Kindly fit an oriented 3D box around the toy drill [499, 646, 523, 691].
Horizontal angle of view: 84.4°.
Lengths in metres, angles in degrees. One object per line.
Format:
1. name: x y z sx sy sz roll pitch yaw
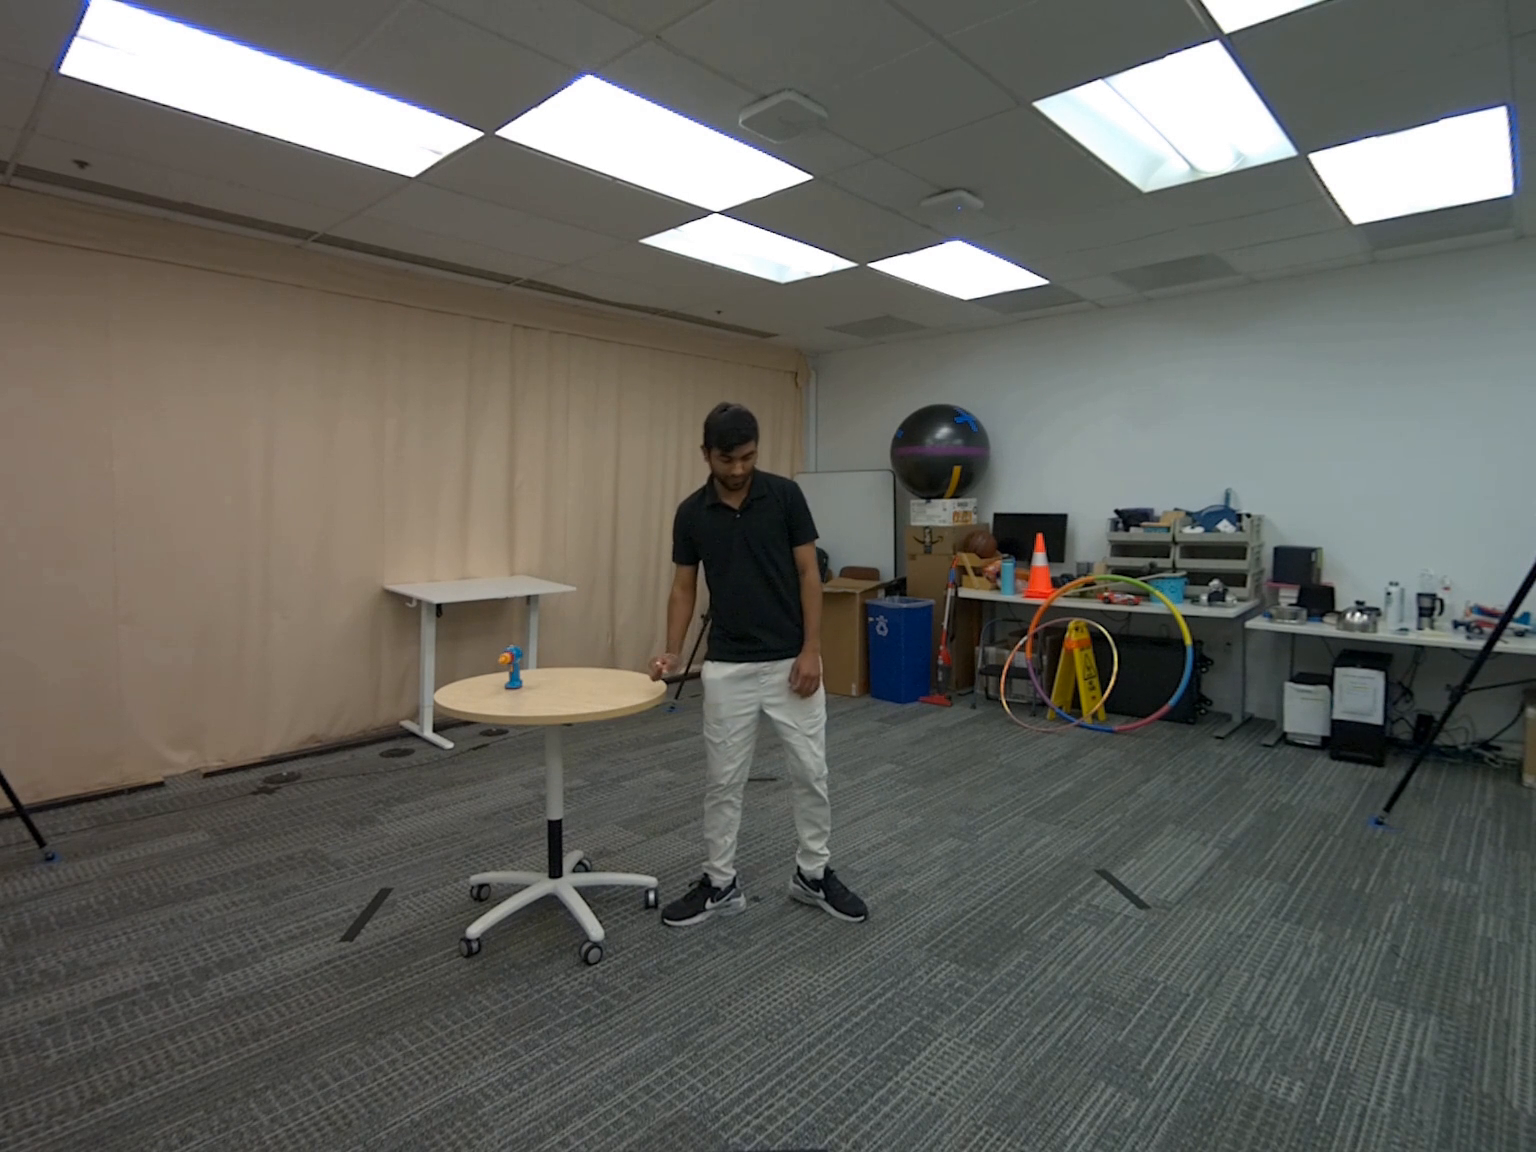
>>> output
1. toy drill: -0.862 0.310 2.802 0.061 0.146 0.169 0 2 1
